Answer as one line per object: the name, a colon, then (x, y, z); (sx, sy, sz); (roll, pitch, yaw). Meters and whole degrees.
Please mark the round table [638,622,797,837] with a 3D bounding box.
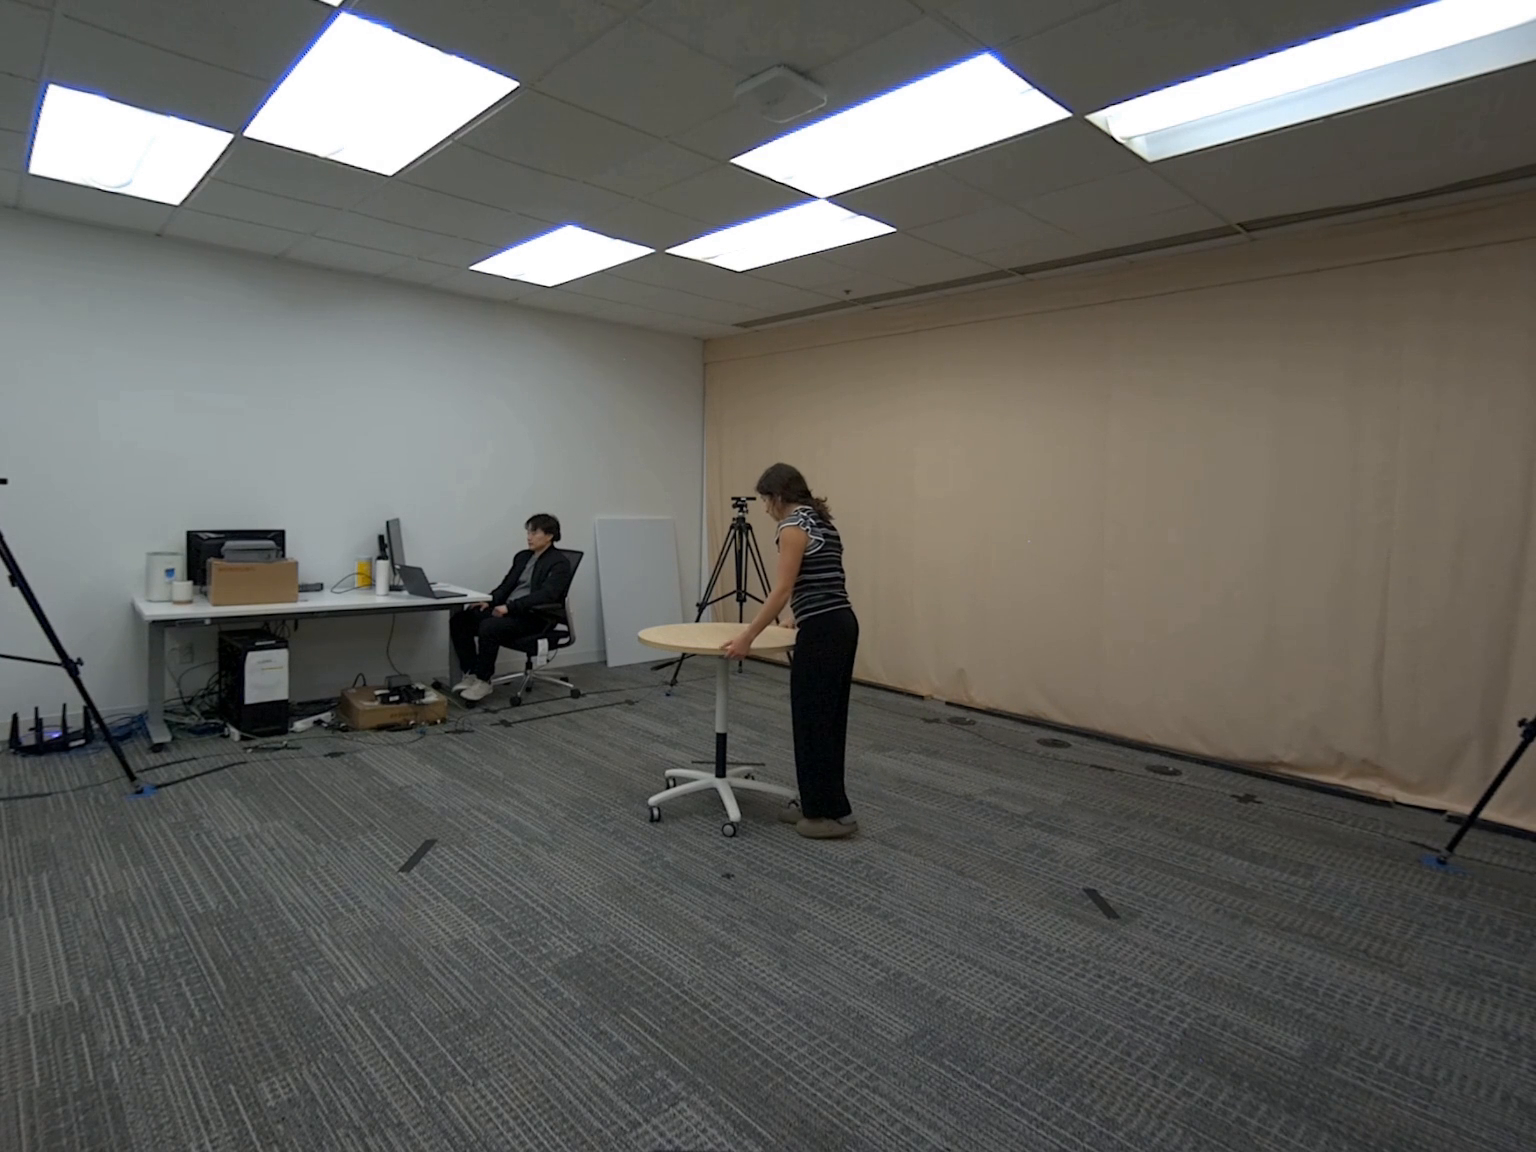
round table: (-0.225, 0.652, 3.780); (0.763, 0.792, 0.766); (1, 3, -1)
